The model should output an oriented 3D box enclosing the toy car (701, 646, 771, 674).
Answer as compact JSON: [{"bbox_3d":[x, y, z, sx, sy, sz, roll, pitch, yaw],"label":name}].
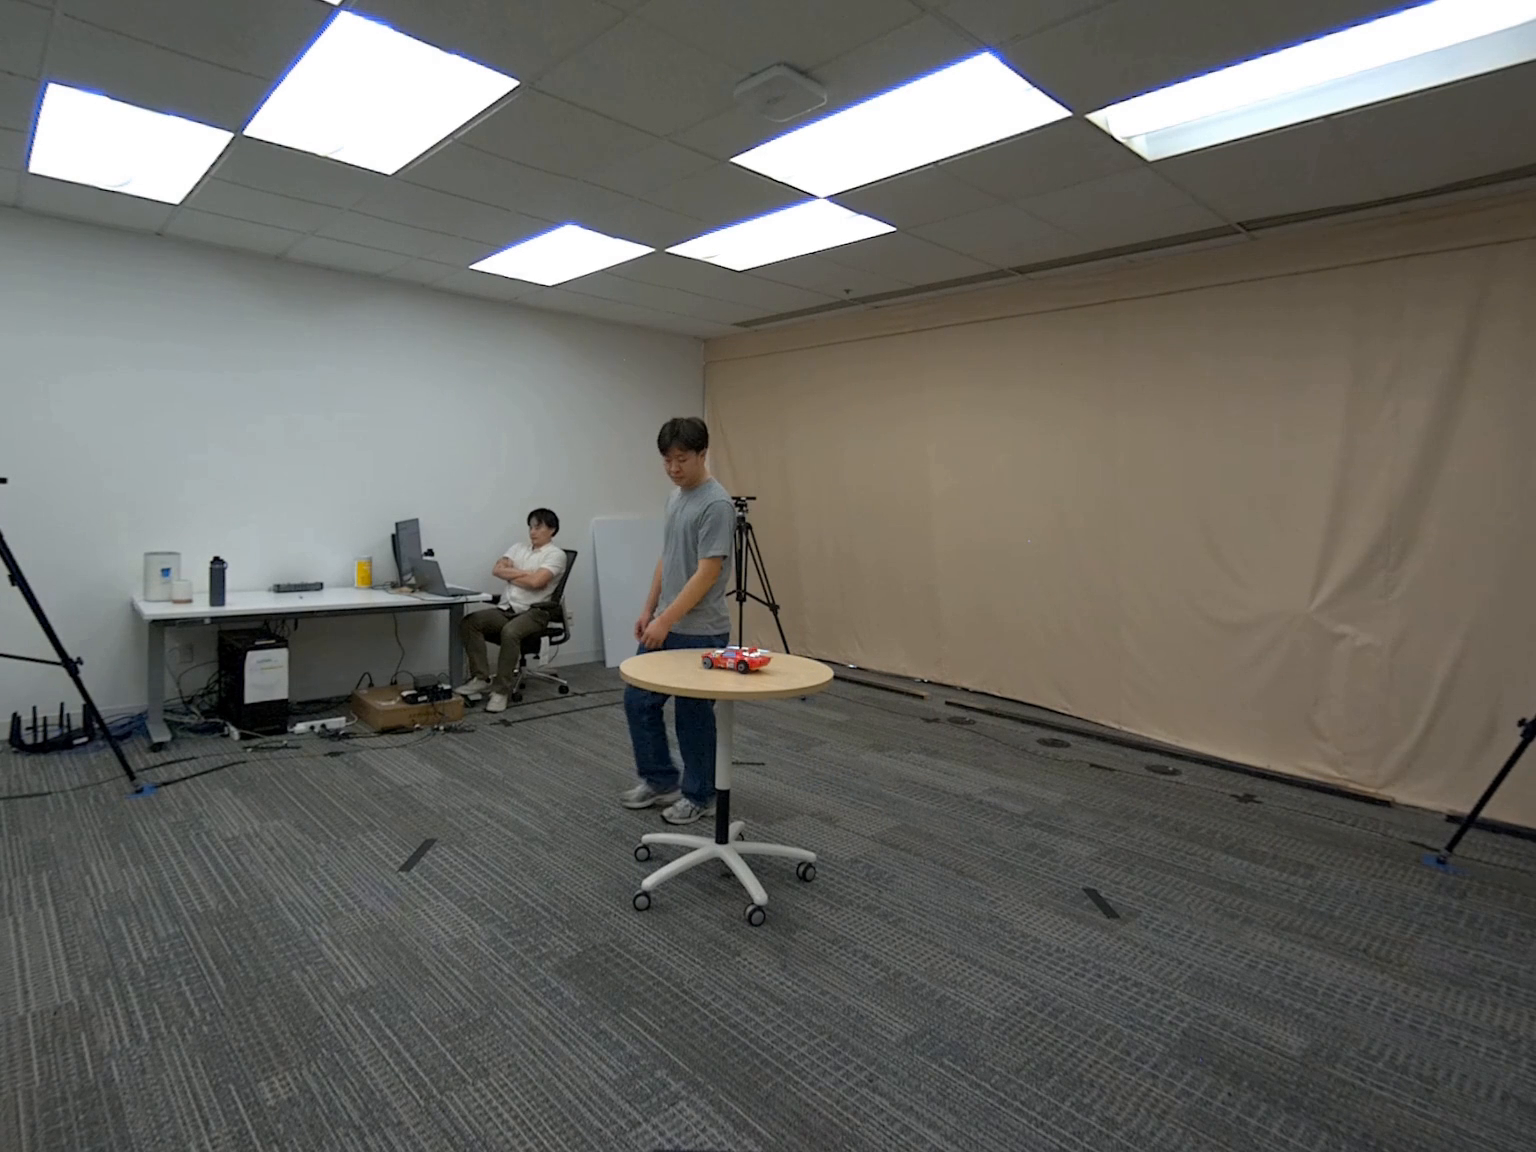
[{"bbox_3d":[-0.117,0.303,2.982,0.259,0.083,0.128,-8,-1,30],"label":"toy car"}]
